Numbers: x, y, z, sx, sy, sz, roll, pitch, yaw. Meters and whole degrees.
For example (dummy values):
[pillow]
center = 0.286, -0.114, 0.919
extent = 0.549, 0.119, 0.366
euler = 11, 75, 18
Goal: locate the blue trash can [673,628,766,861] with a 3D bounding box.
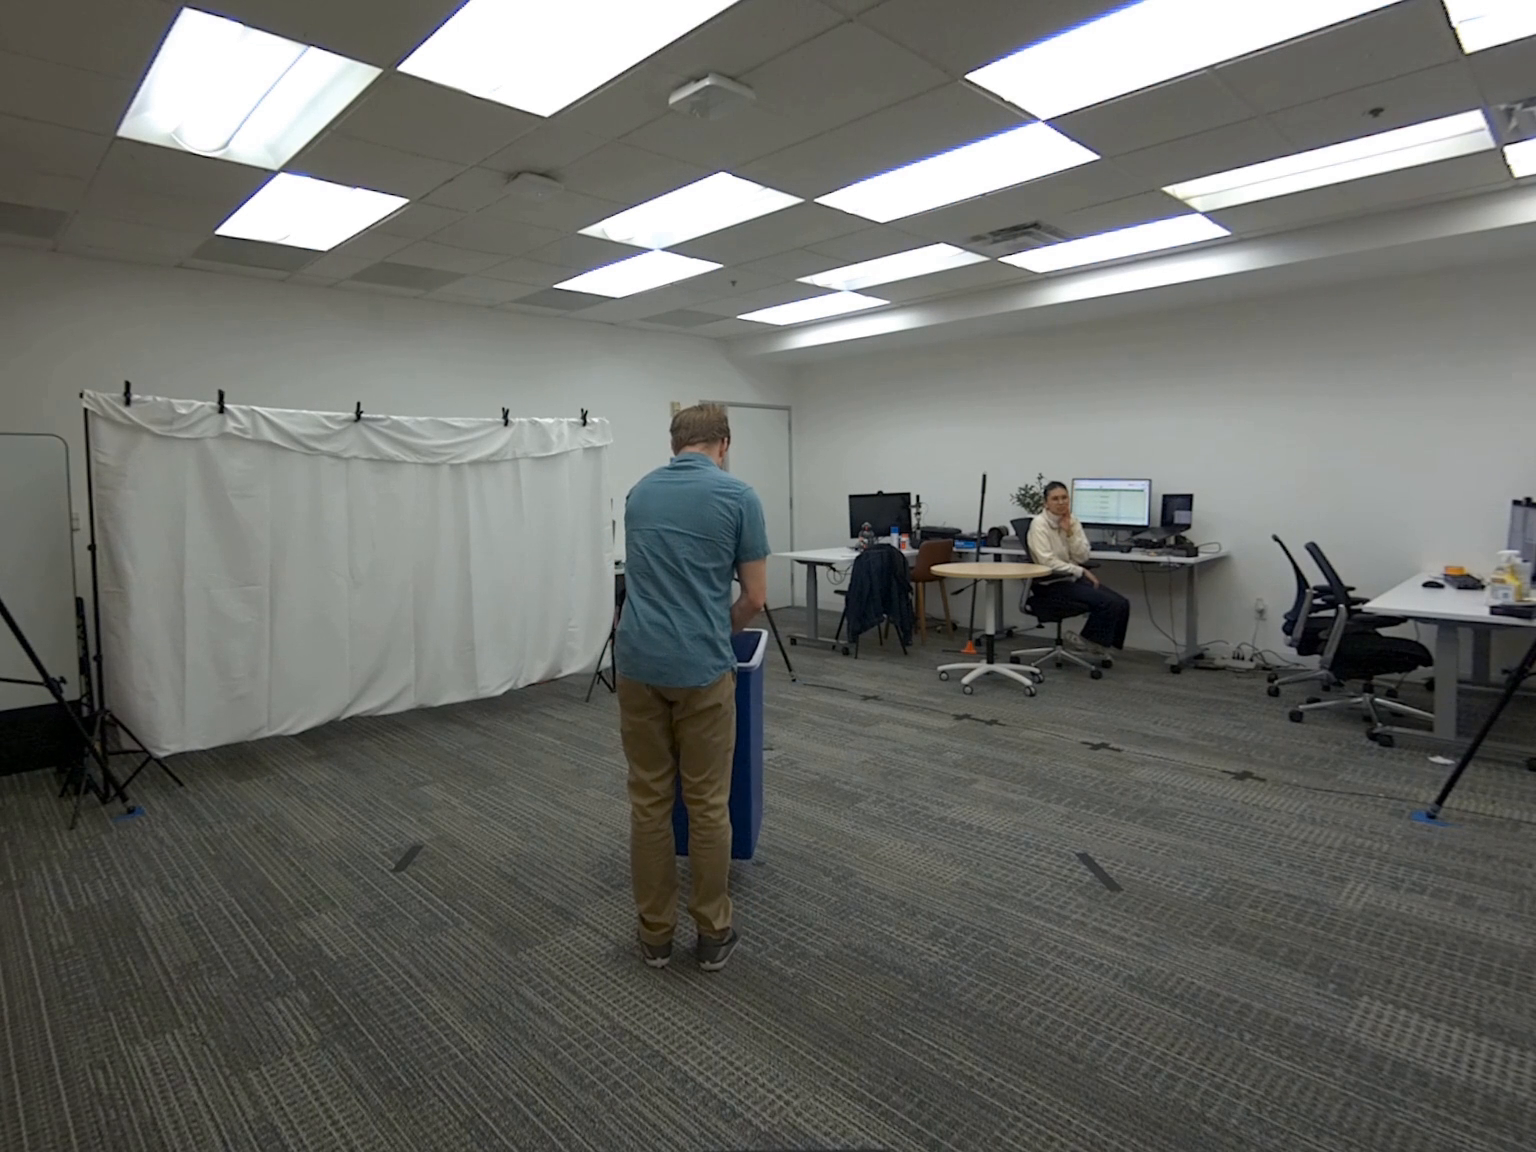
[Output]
[blue trash can]
center = -0.187, 0.585, 2.977
extent = 0.381, 0.706, 0.375
euler = 1, 12, 8
